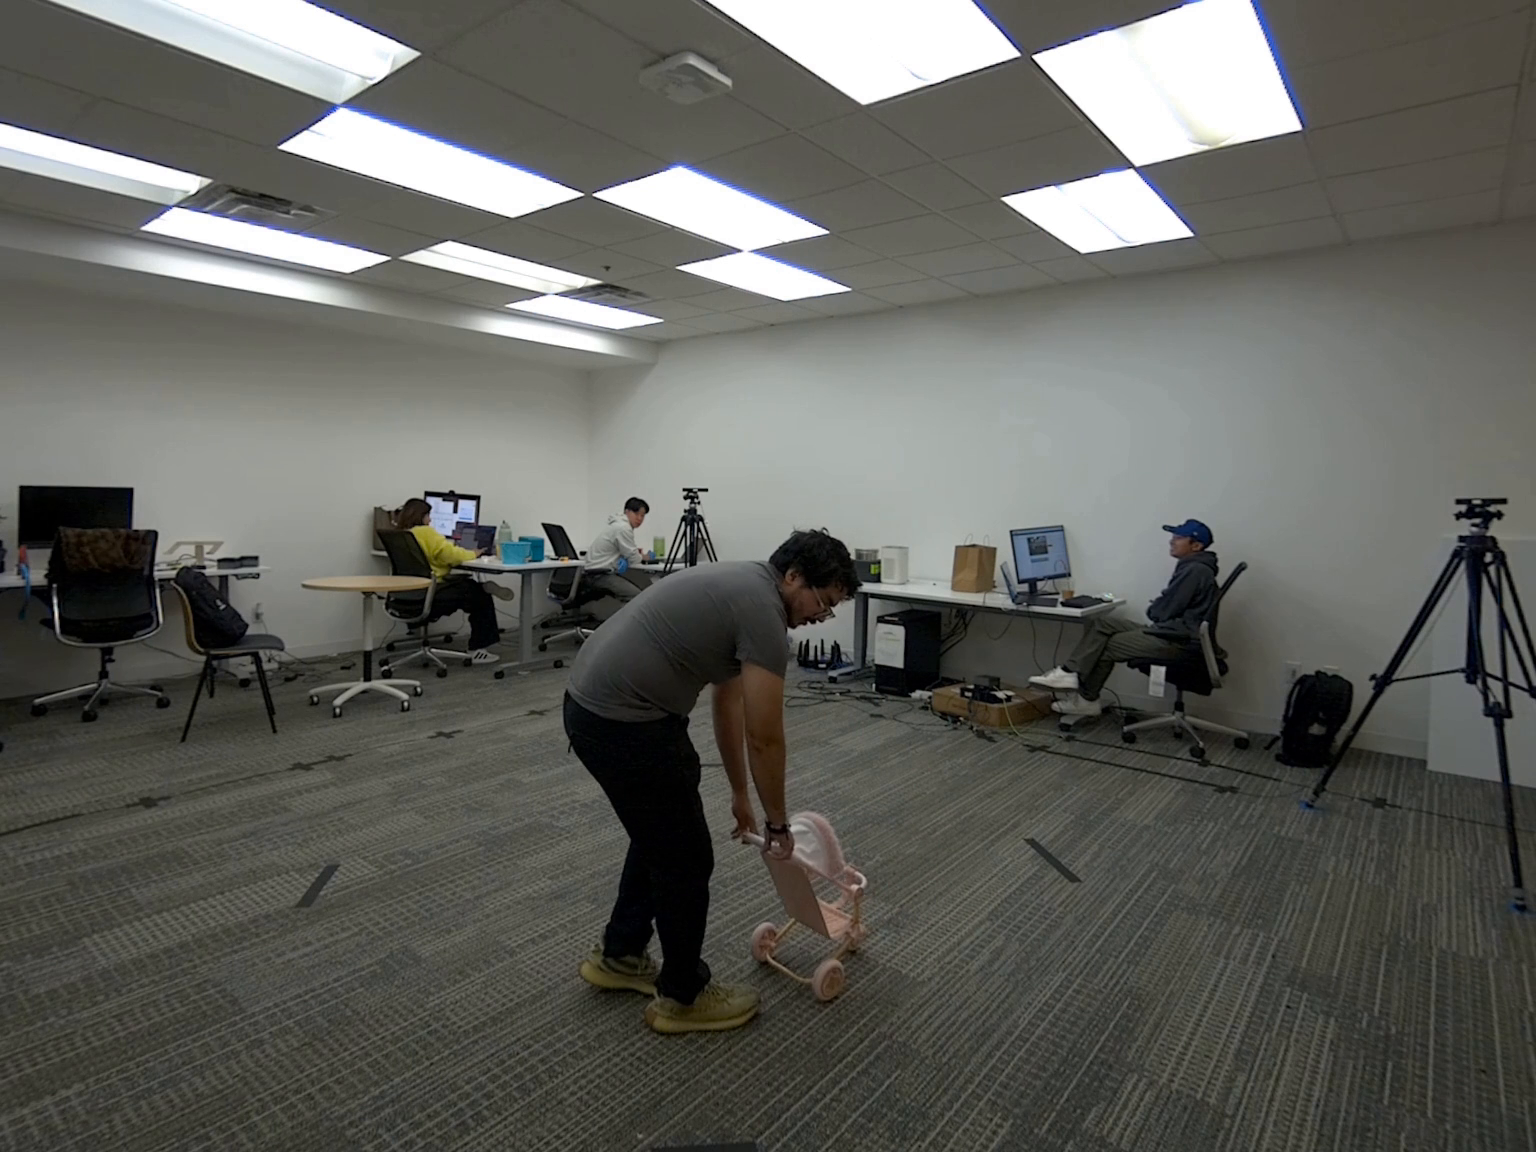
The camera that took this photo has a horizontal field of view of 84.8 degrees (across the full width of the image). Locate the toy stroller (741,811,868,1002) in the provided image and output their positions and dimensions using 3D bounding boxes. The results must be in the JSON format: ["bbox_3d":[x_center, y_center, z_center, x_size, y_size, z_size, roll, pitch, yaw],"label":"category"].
[{"bbox_3d":[0.121,0.912,2.449,0.334,0.528,0.291,-19,15,-37],"label":"toy stroller"}]
